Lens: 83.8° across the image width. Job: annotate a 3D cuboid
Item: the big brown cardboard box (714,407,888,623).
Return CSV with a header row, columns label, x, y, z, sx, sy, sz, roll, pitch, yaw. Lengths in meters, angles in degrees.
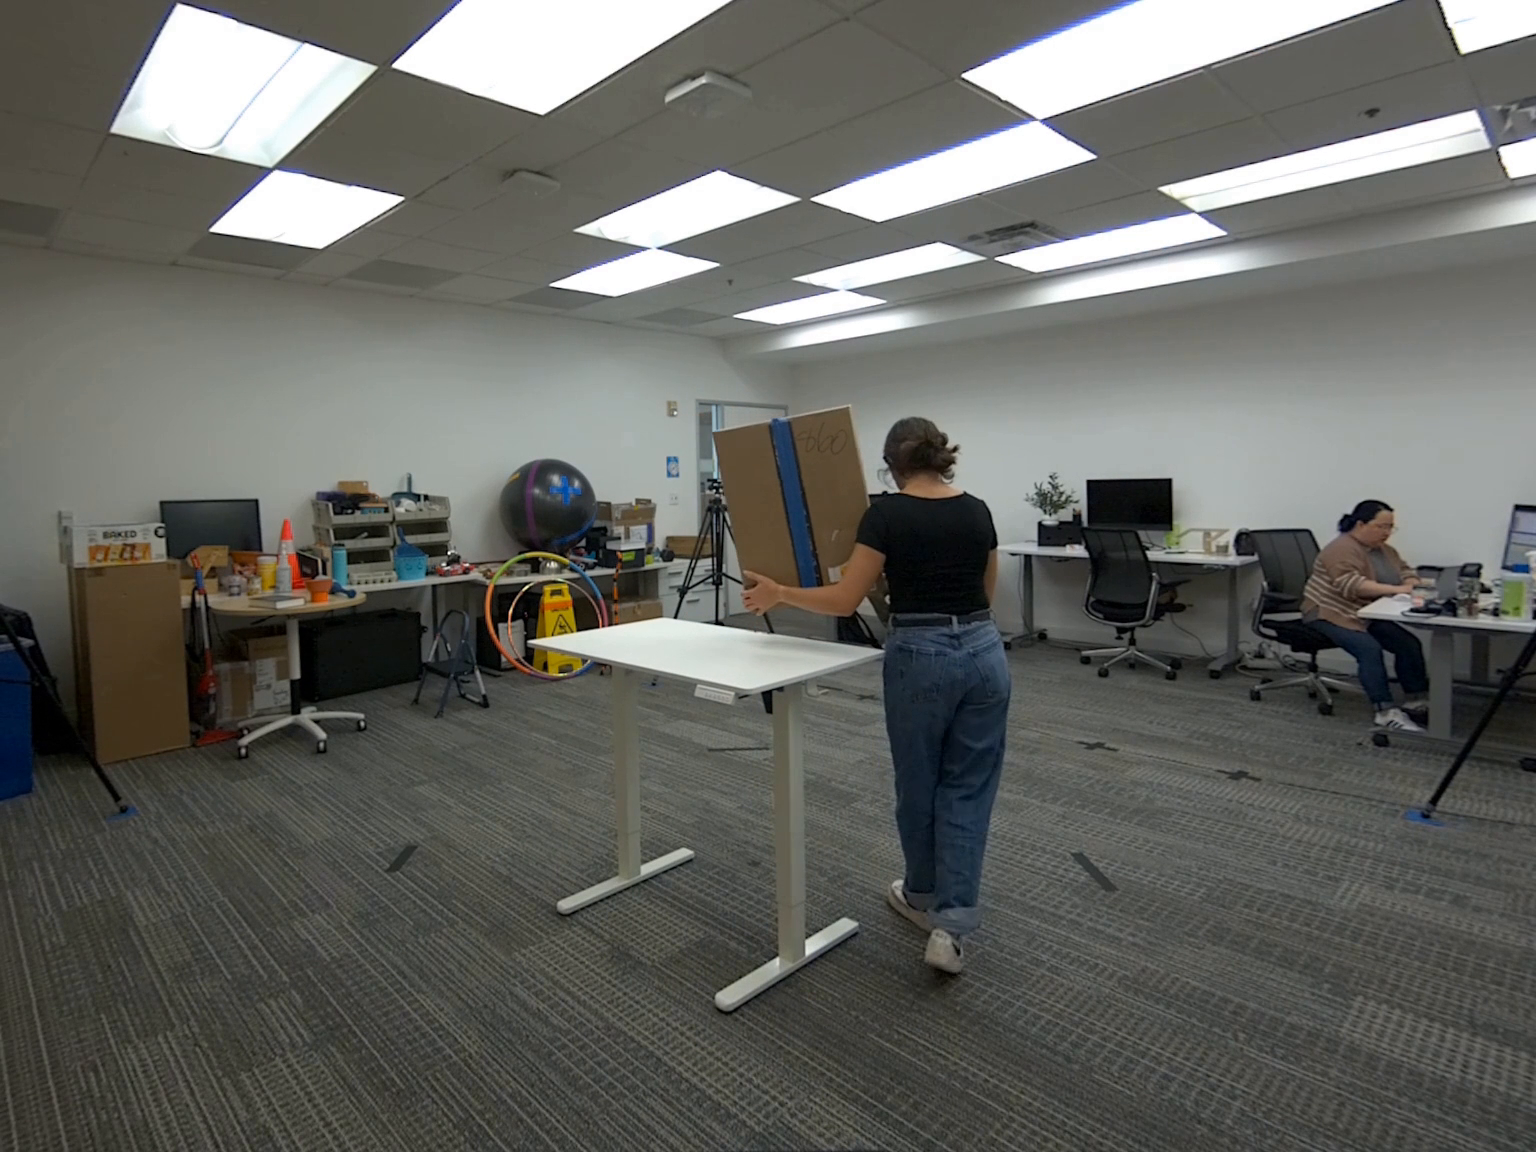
label,x,y,z,sx,sy,sz,roll,pitch,yaw
big brown cardboard box,0.110,-0.211,2.638,0.421,0.585,0.233,-10,7,9
